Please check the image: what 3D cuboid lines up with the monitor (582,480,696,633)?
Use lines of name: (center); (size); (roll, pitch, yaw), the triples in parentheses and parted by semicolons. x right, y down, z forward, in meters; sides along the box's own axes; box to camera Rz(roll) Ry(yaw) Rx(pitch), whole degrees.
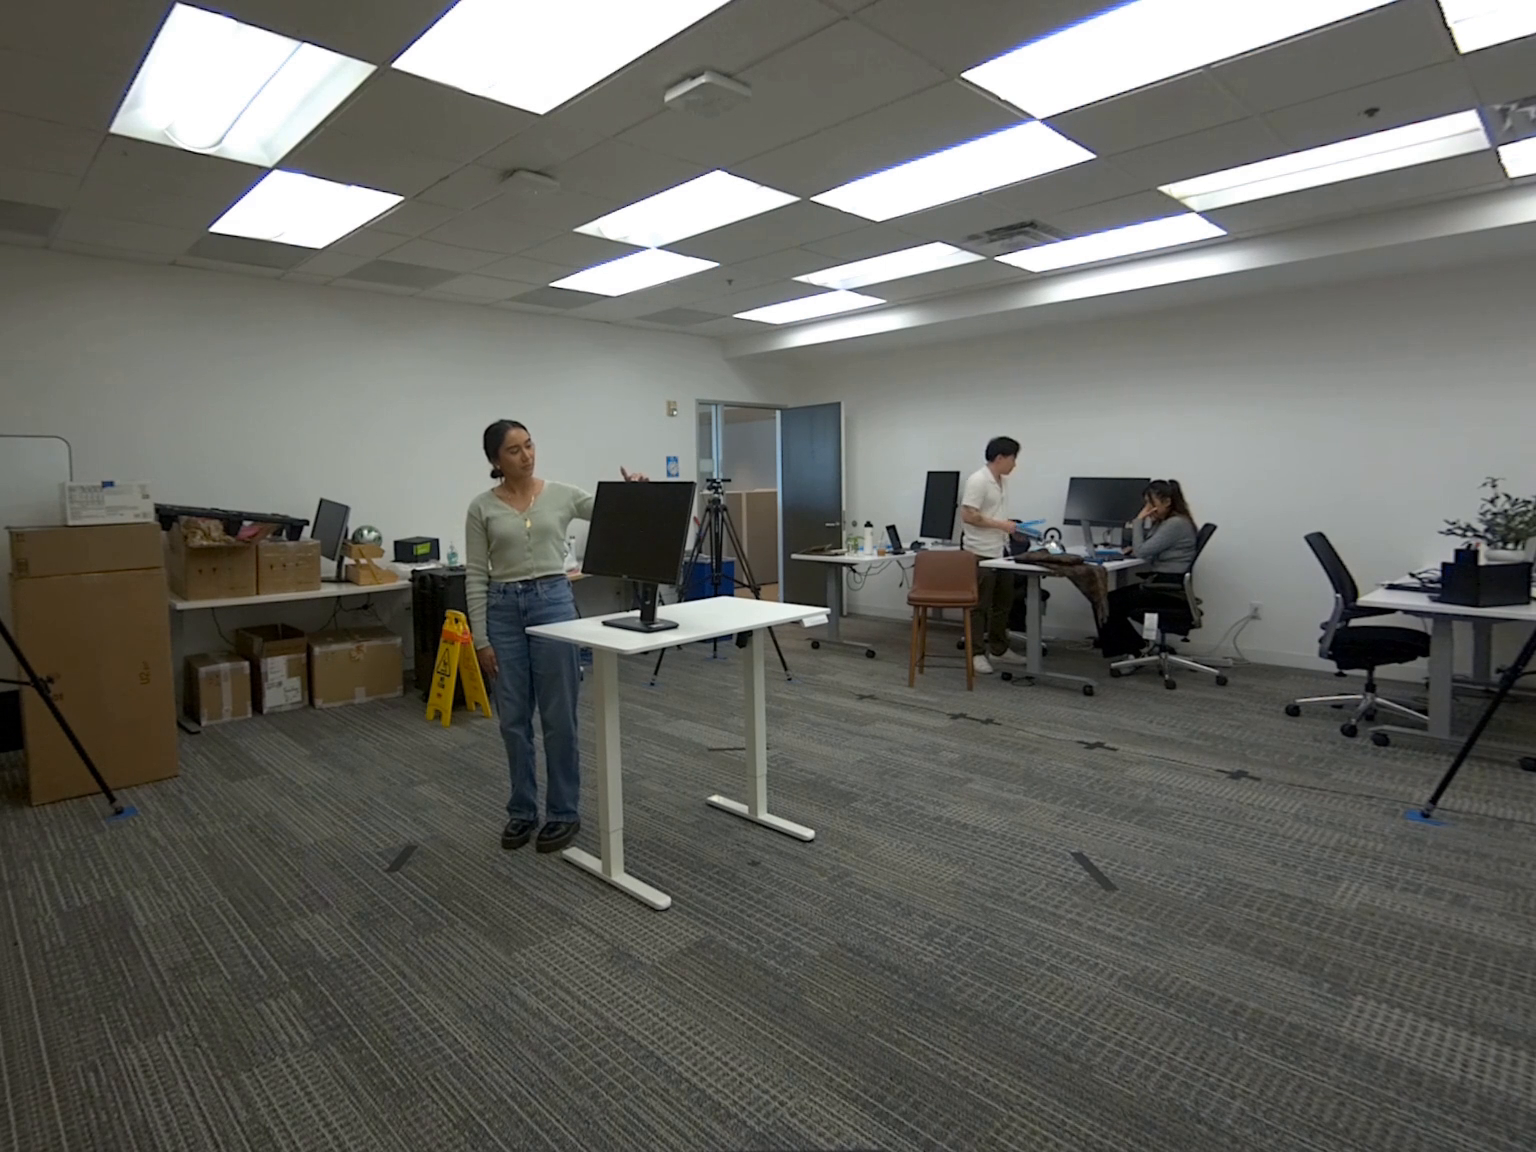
monitor: (-0.443, -0.073, 3.032); (0.556, 0.521, 0.182); (4, 4, 42)
